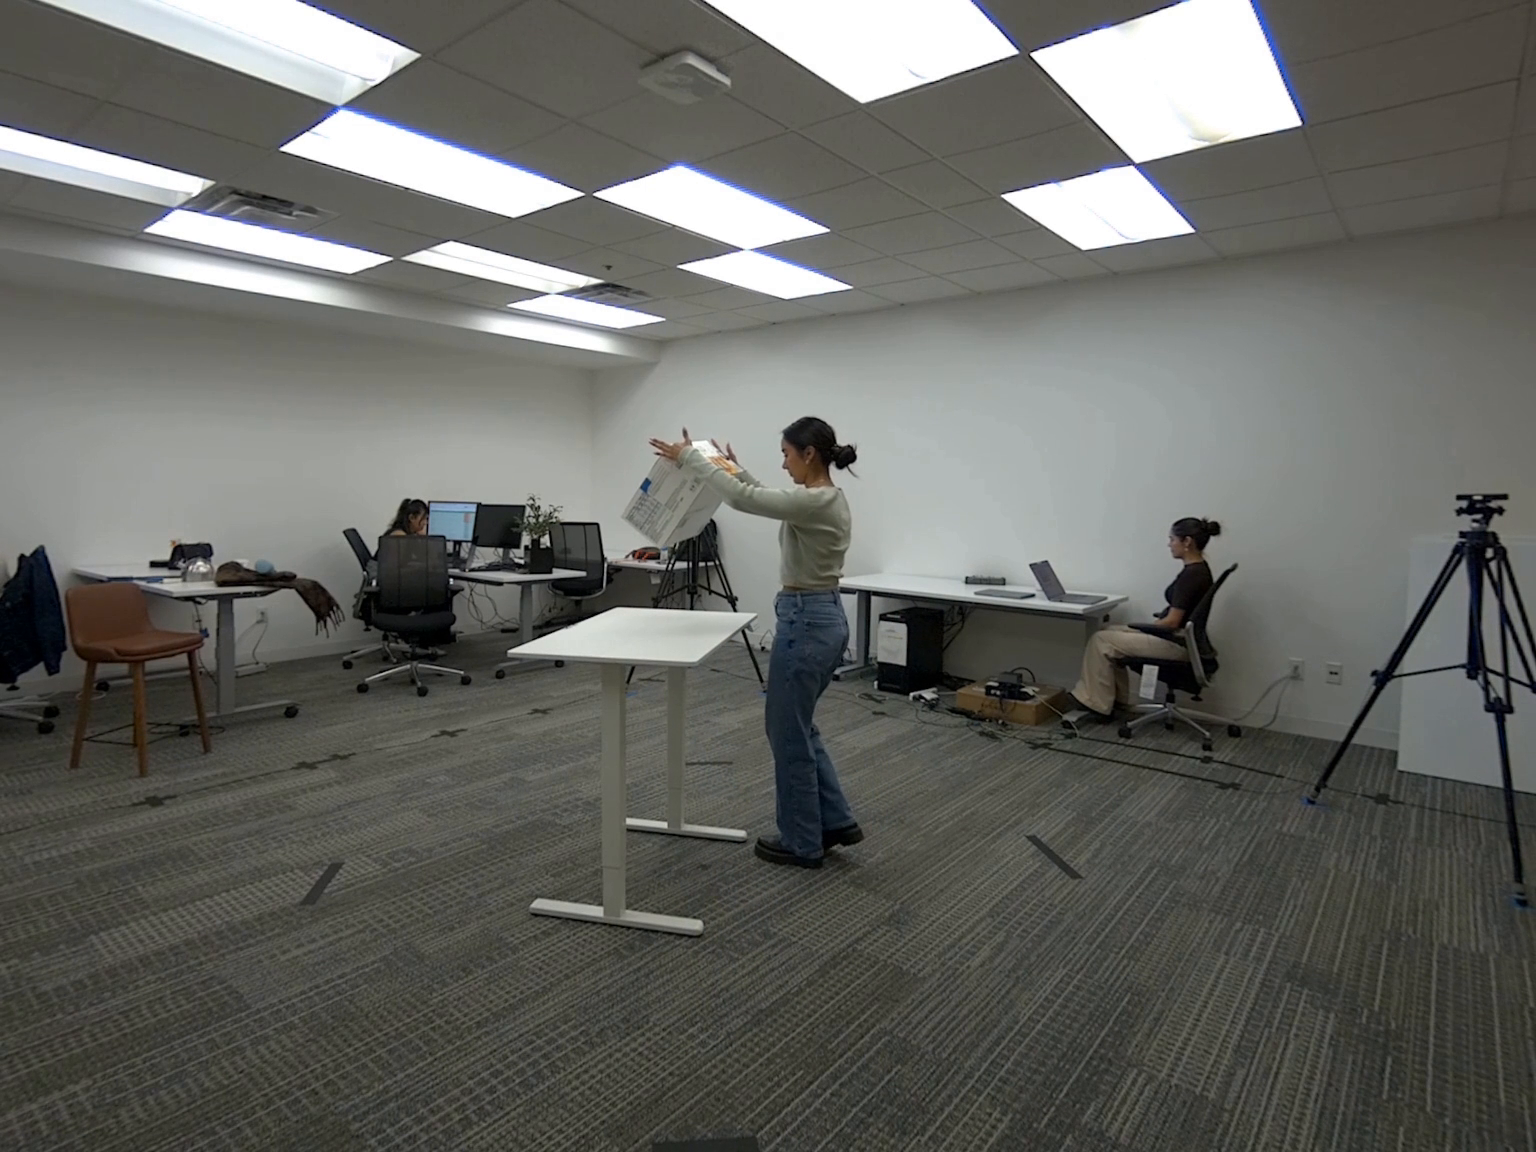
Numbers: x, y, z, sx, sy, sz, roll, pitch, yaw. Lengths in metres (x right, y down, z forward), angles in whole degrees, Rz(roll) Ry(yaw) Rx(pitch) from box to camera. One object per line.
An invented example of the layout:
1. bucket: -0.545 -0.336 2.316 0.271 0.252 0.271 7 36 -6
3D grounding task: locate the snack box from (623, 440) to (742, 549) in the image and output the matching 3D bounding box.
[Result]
1. snack box: -0.333 -0.326 3.314 0.208 0.339 0.401 39 19 8
